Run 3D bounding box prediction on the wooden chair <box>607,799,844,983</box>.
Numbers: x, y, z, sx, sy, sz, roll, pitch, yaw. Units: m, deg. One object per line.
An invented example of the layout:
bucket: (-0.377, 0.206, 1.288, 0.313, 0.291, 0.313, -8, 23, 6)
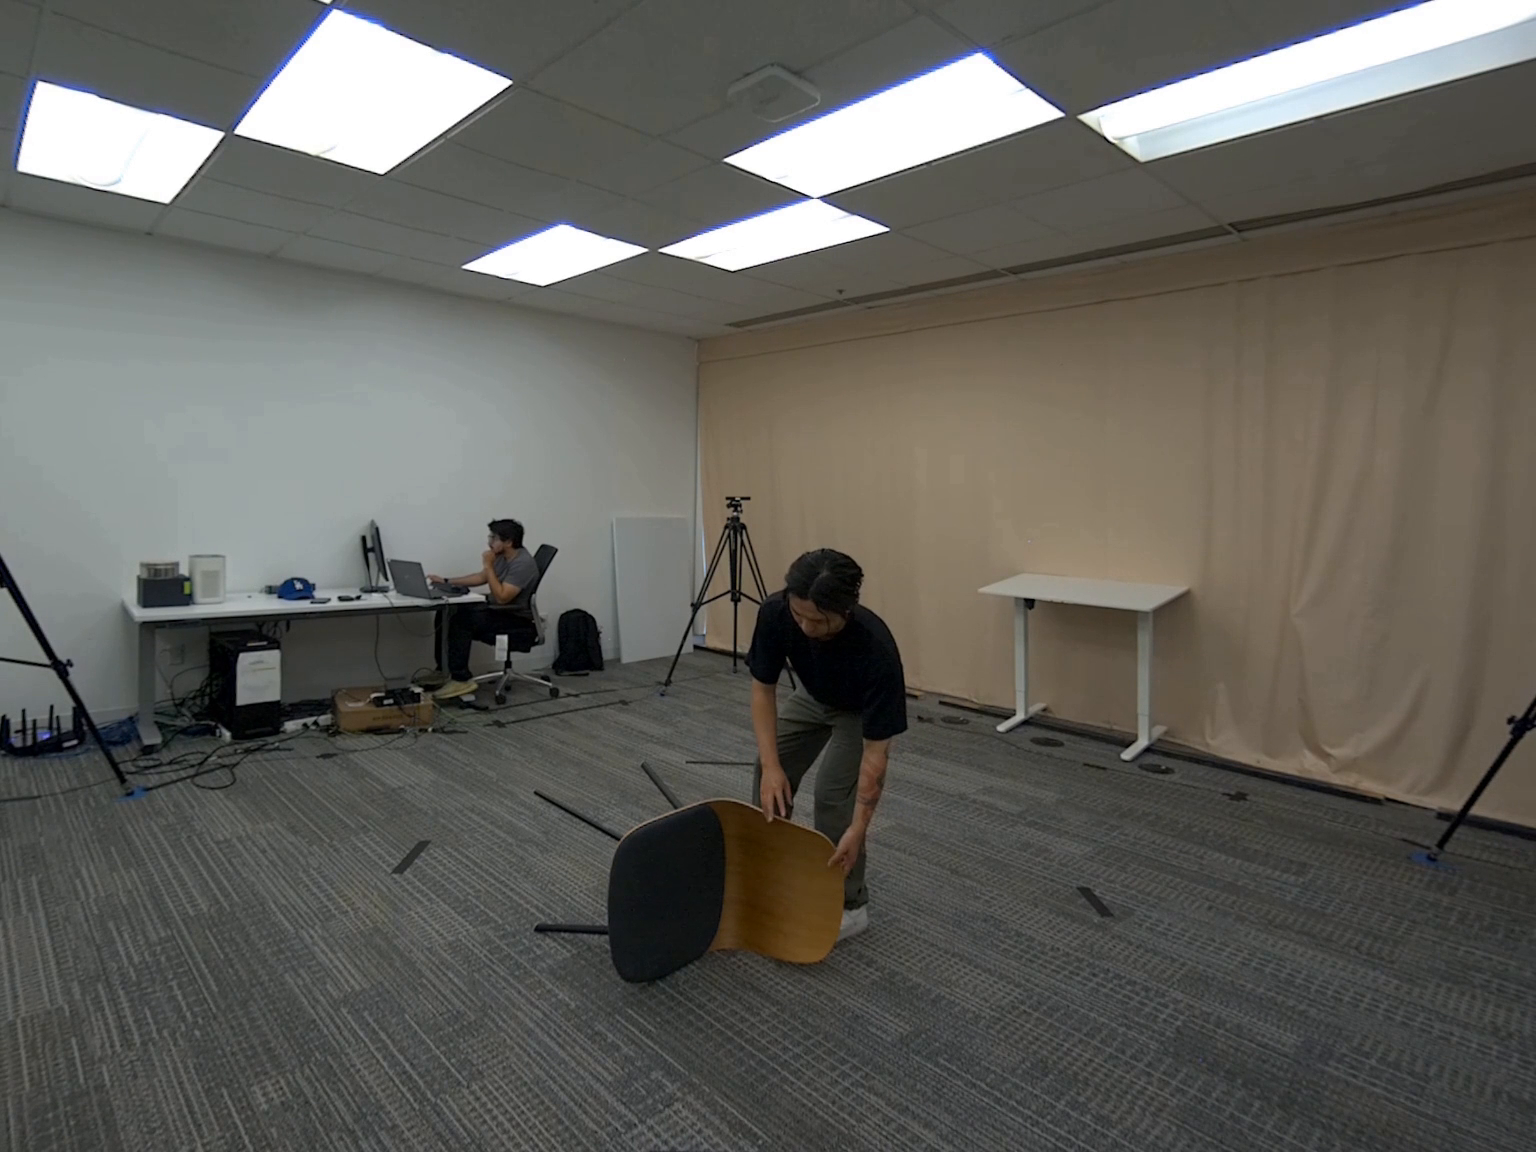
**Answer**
wooden chair: (-0.282, 0.924, 2.535, 0.899, 0.477, 0.511, 4, 5, 39)
